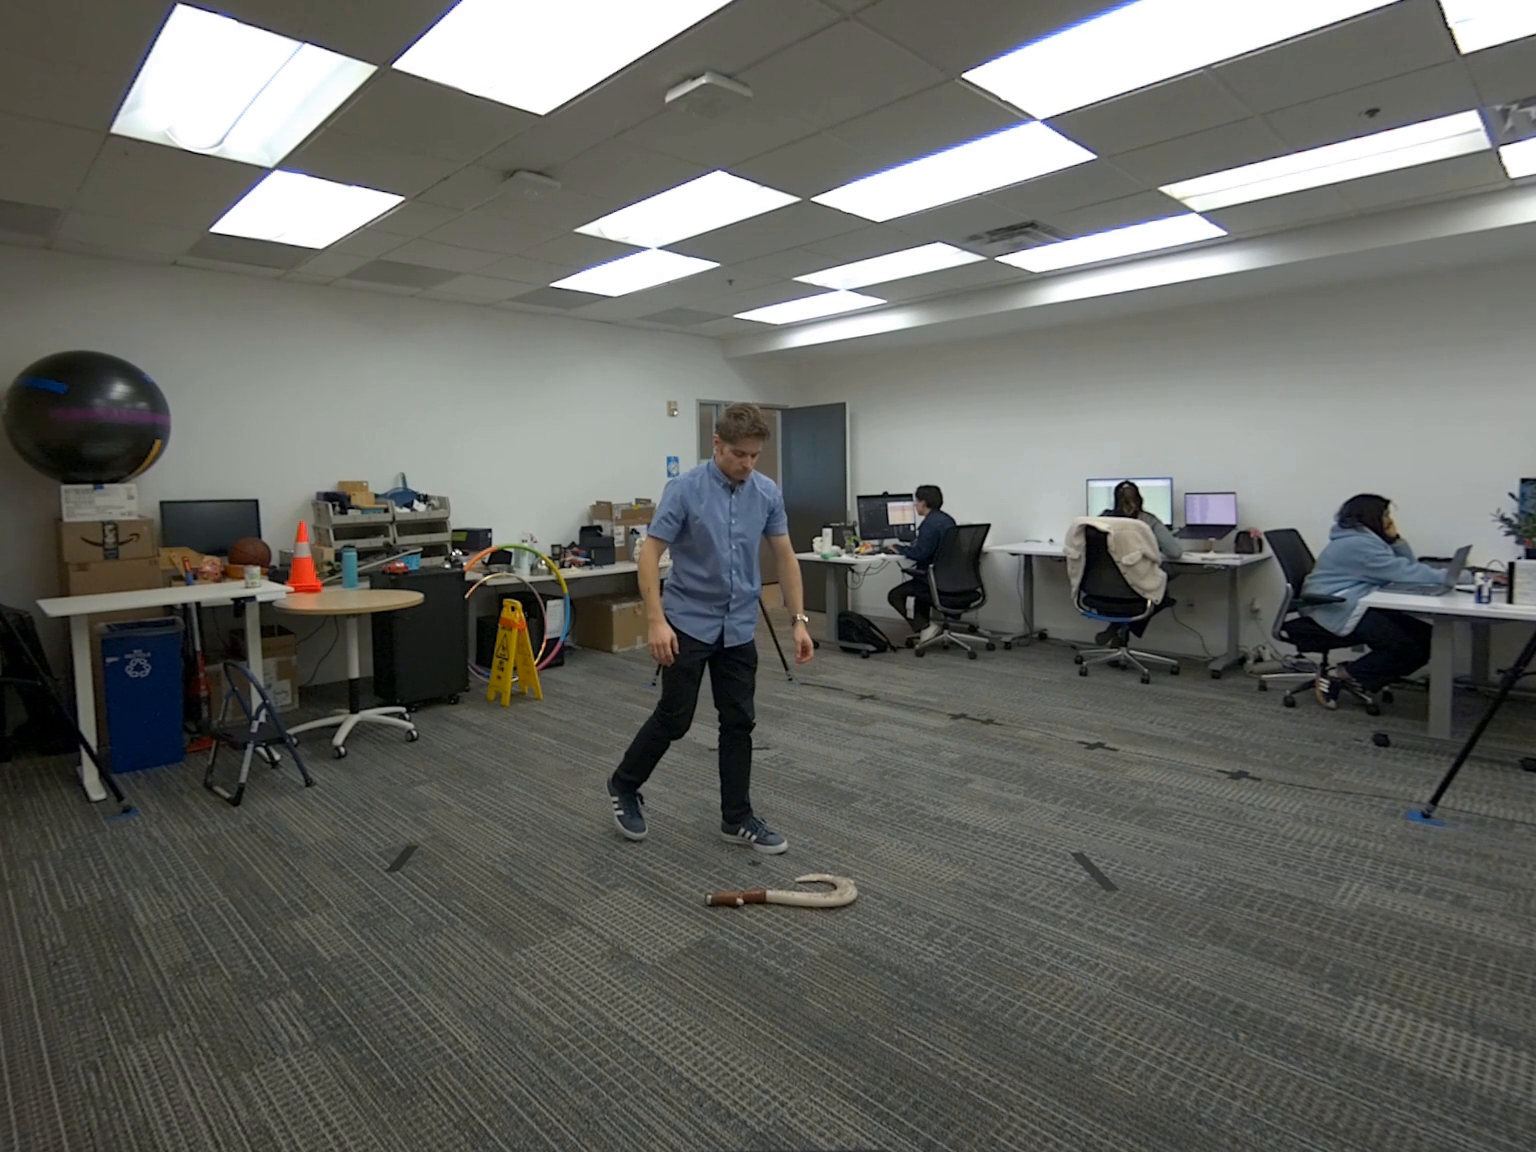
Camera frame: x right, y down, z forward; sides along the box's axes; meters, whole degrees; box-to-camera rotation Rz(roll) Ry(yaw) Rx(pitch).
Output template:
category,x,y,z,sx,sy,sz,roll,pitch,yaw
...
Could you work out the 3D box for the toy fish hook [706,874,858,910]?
category,x,y,z,sx,sy,sz,roll,pitch,yaw
toy fish hook,0.046,1.054,2.863,0.506,0.048,0.224,0,-2,-2
